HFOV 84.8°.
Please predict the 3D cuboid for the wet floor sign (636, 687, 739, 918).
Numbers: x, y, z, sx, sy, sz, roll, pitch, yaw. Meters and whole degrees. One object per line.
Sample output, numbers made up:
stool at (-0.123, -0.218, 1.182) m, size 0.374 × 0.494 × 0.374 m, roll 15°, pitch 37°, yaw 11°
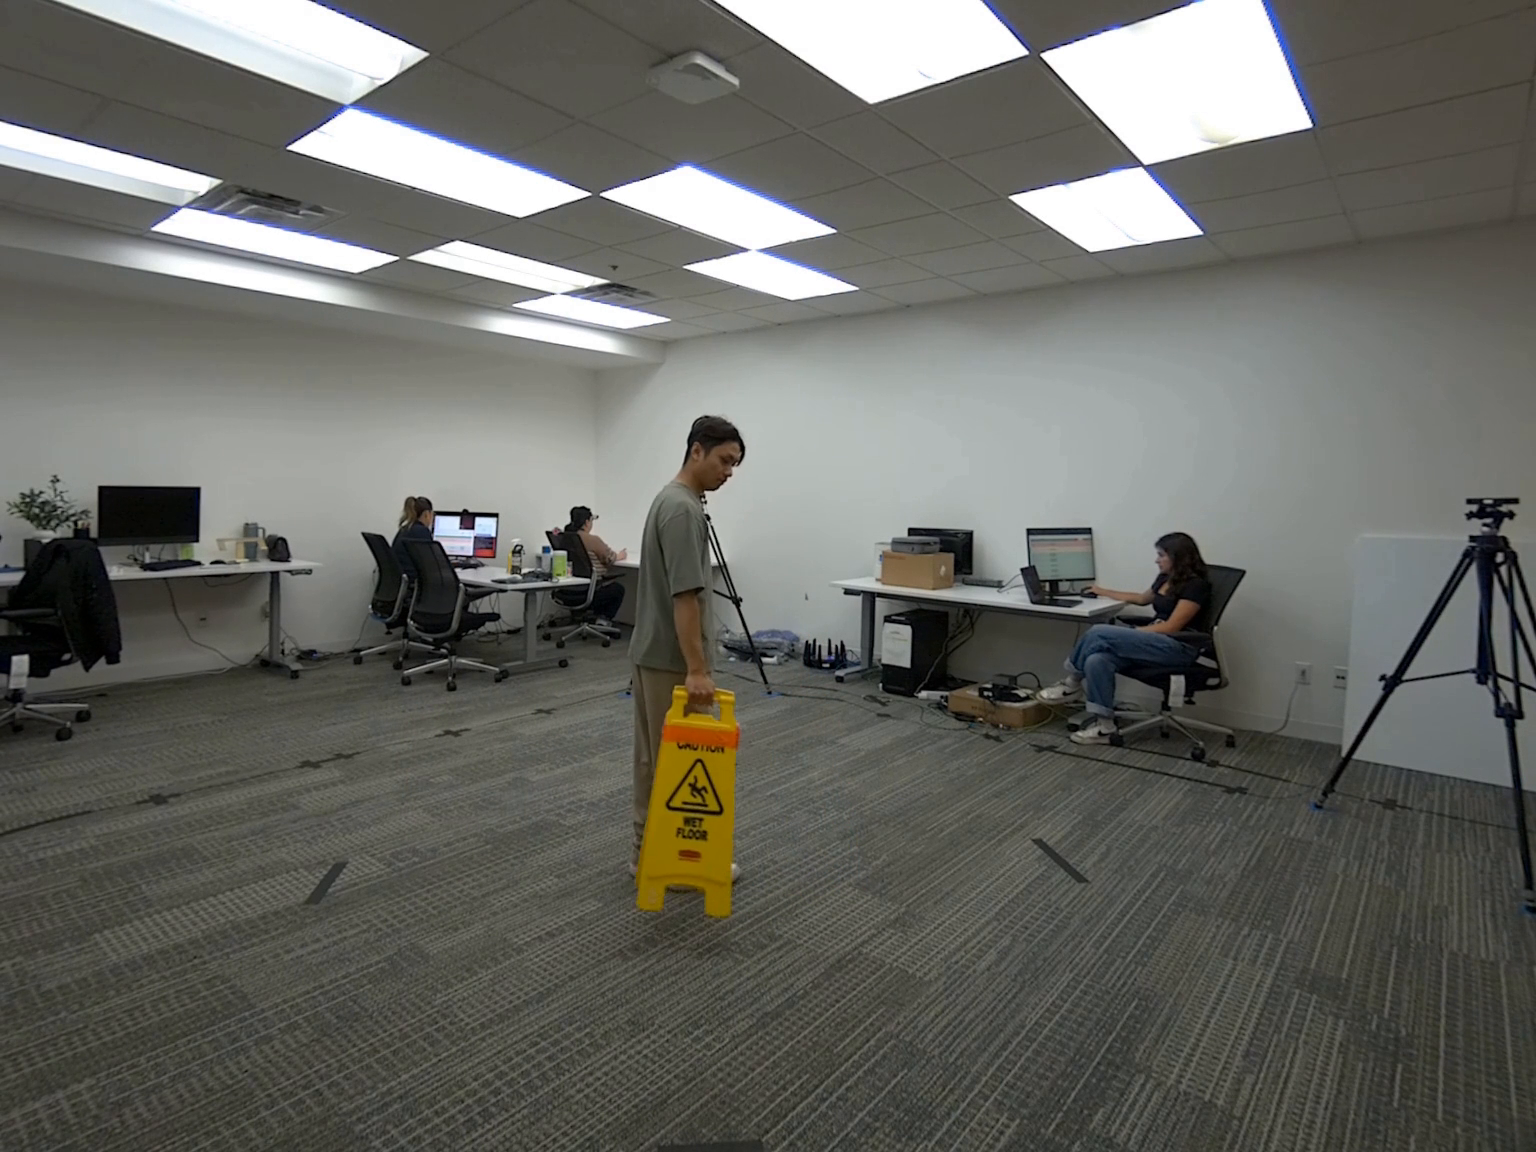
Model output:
wet floor sign at (-0.244, 0.684, 2.683) m, size 0.280 × 0.650 × 0.290 m, roll 7°, pitch -6°, yaw -6°
